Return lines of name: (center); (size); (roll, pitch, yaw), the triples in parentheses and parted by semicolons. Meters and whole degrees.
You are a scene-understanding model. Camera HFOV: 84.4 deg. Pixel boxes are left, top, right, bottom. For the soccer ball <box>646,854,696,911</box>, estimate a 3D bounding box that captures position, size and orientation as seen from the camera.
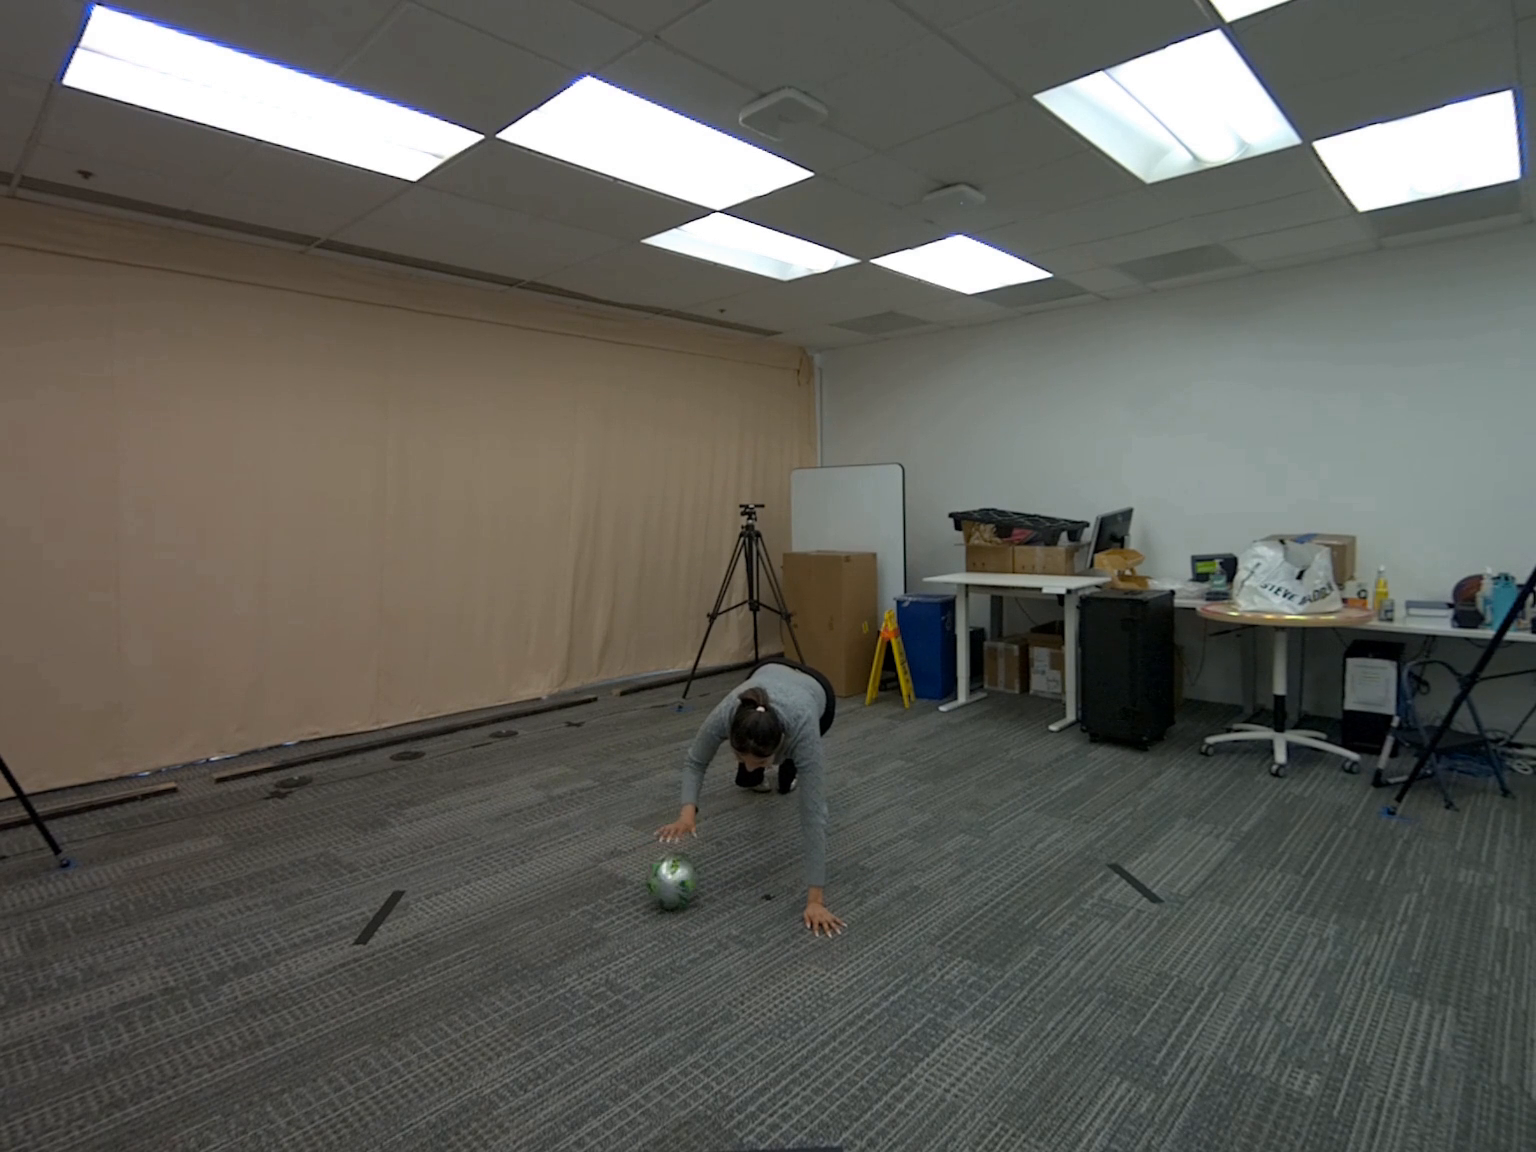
soccer ball: (-0.326, 1.059, 2.928); (0.187, 0.187, 0.188); (-1, 4, -2)
